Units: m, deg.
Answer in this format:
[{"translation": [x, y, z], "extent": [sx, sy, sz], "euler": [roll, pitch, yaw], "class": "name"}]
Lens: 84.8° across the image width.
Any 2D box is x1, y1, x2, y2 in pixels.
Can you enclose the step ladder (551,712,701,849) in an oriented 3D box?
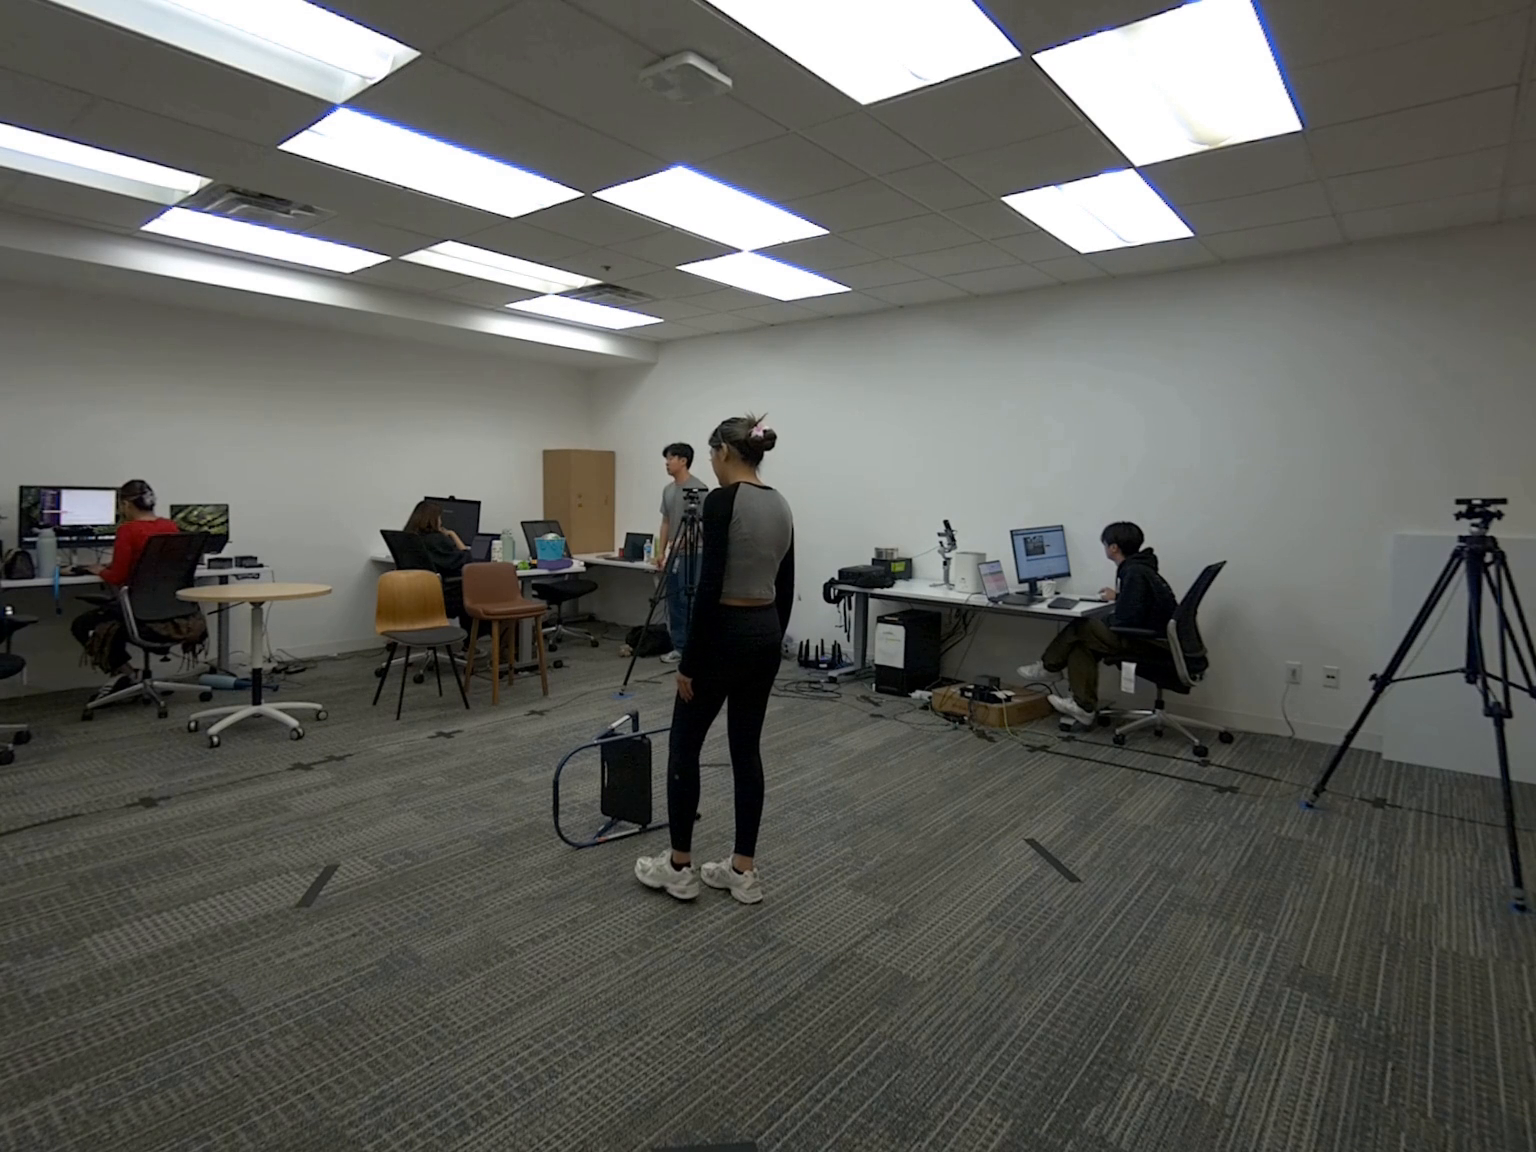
[{"translation": [-0.599, 0.827, 3.415], "extent": [0.360, 0.429, 0.590], "euler": [2, 5, 31], "class": "step ladder"}]
